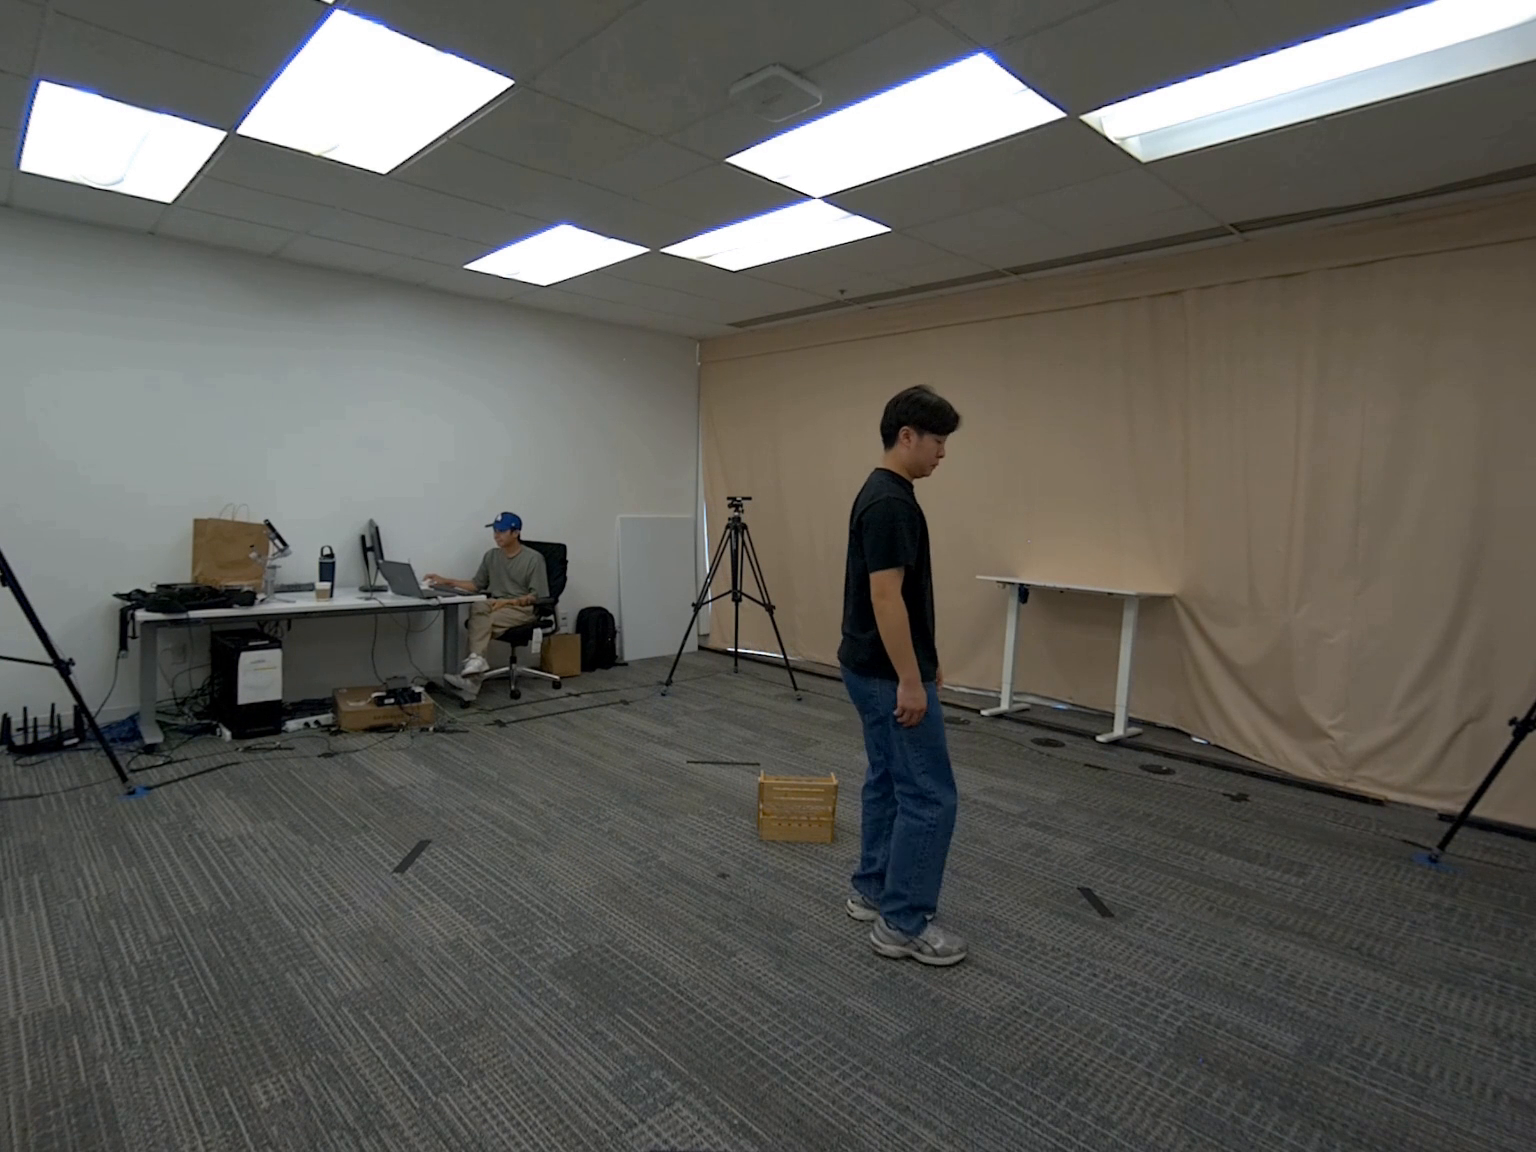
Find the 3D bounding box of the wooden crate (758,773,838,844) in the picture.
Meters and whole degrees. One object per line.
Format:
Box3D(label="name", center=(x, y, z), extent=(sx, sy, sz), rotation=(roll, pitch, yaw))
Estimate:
Box3D(label="wooden crate", center=(0.112, 0.942, 3.538), extent=(0.324, 0.273, 0.302), rotation=(1, 3, 0))
